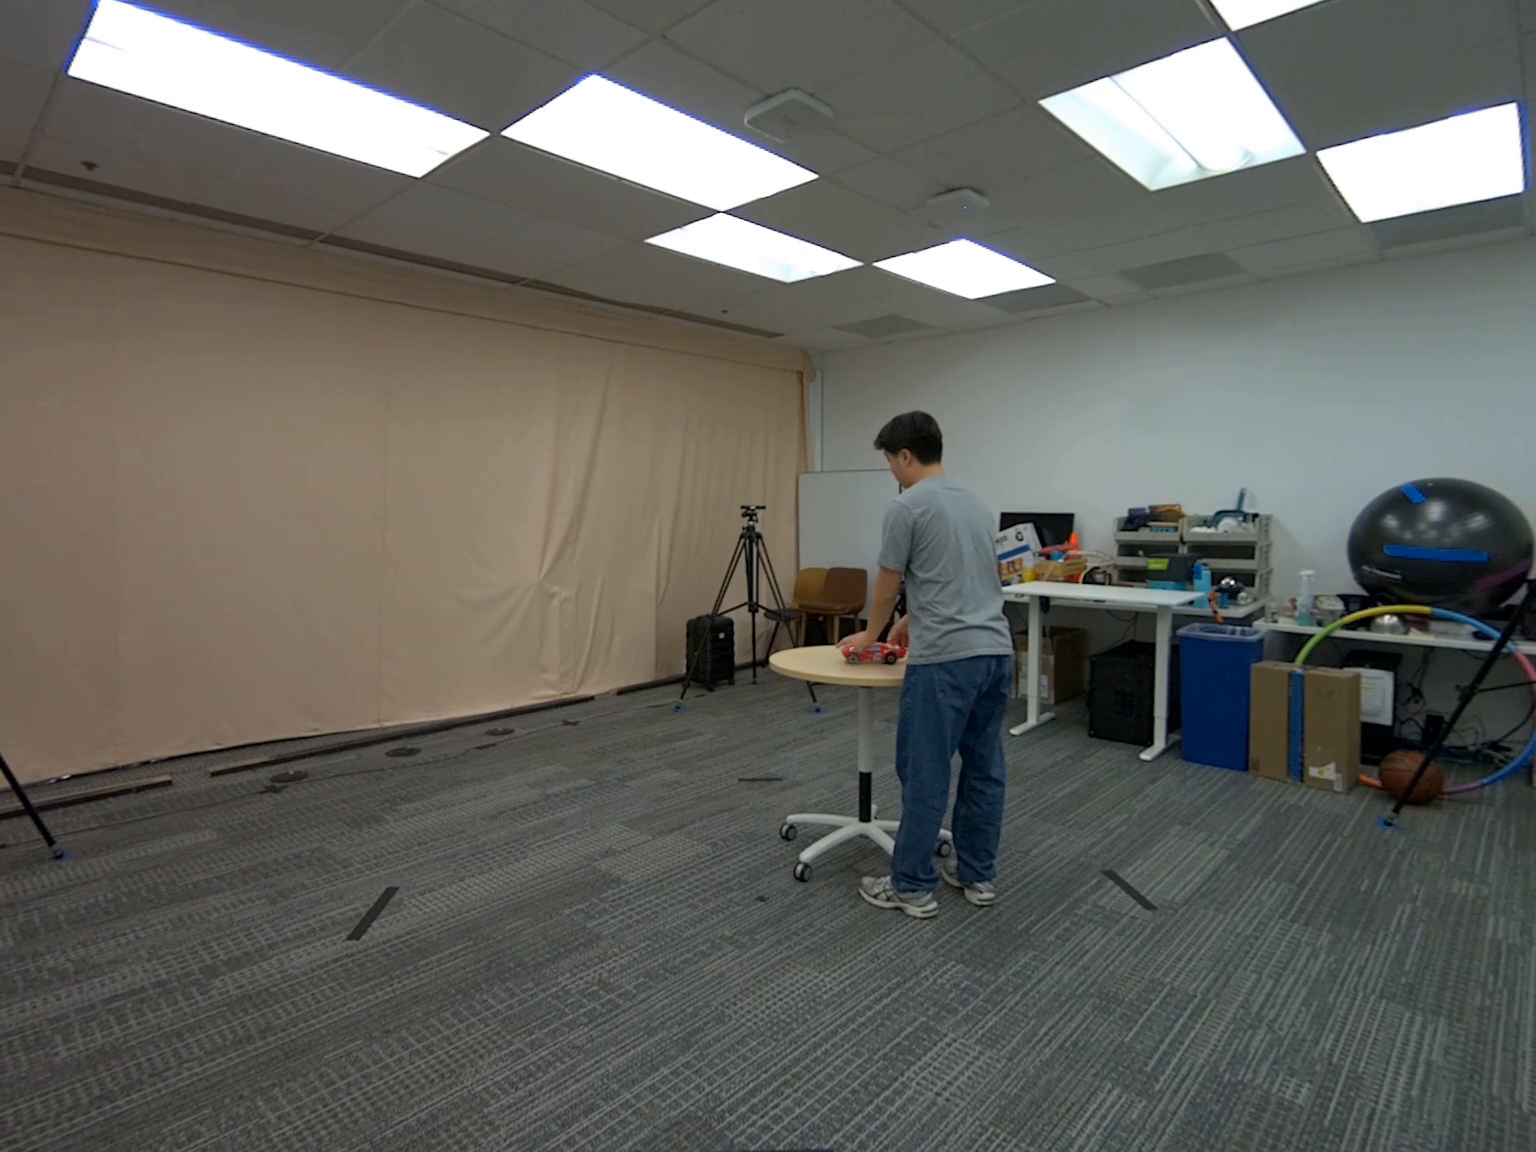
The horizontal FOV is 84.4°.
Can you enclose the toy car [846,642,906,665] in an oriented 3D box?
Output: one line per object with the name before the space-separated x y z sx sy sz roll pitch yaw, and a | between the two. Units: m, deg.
toy car | 0.428 0.305 3.267 0.255 0.083 0.130 -10 4 3
